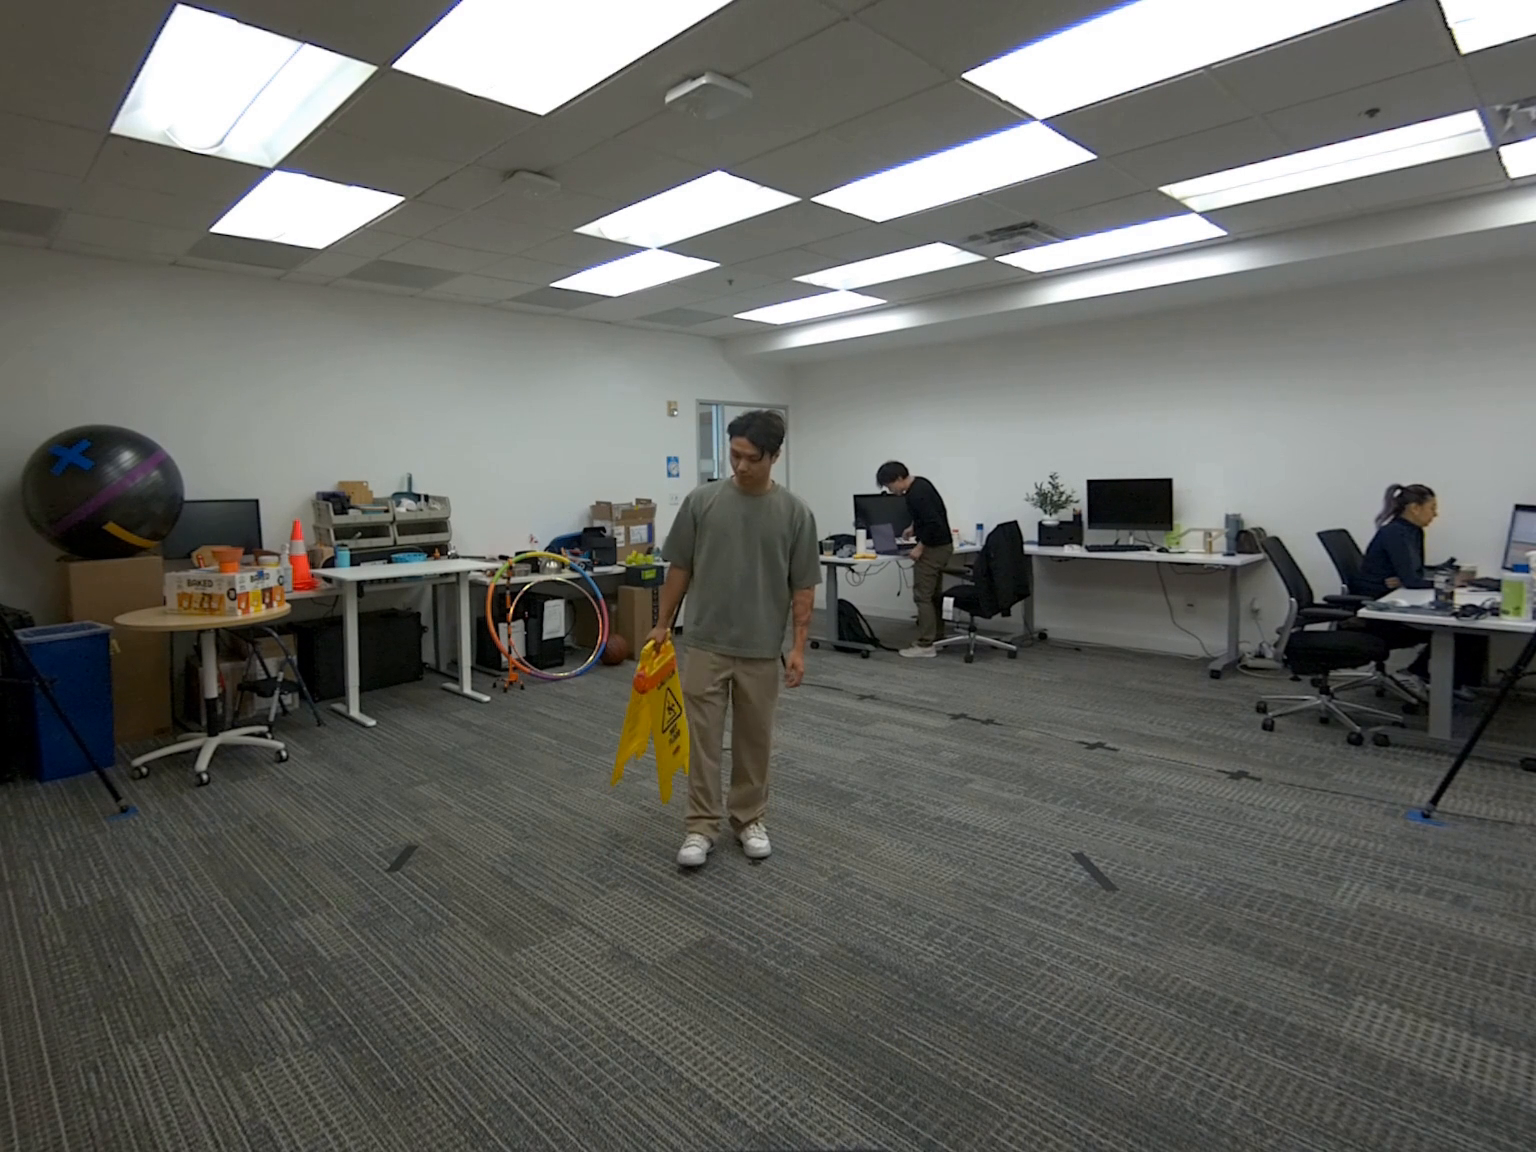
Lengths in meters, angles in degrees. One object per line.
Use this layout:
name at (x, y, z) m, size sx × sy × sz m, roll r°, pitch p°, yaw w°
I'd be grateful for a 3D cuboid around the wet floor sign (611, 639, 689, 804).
wet floor sign at (-0.448, 0.540, 3.408) m, size 0.296 × 0.635 × 0.281 m, roll 11°, pitch 23°, yaw 20°
